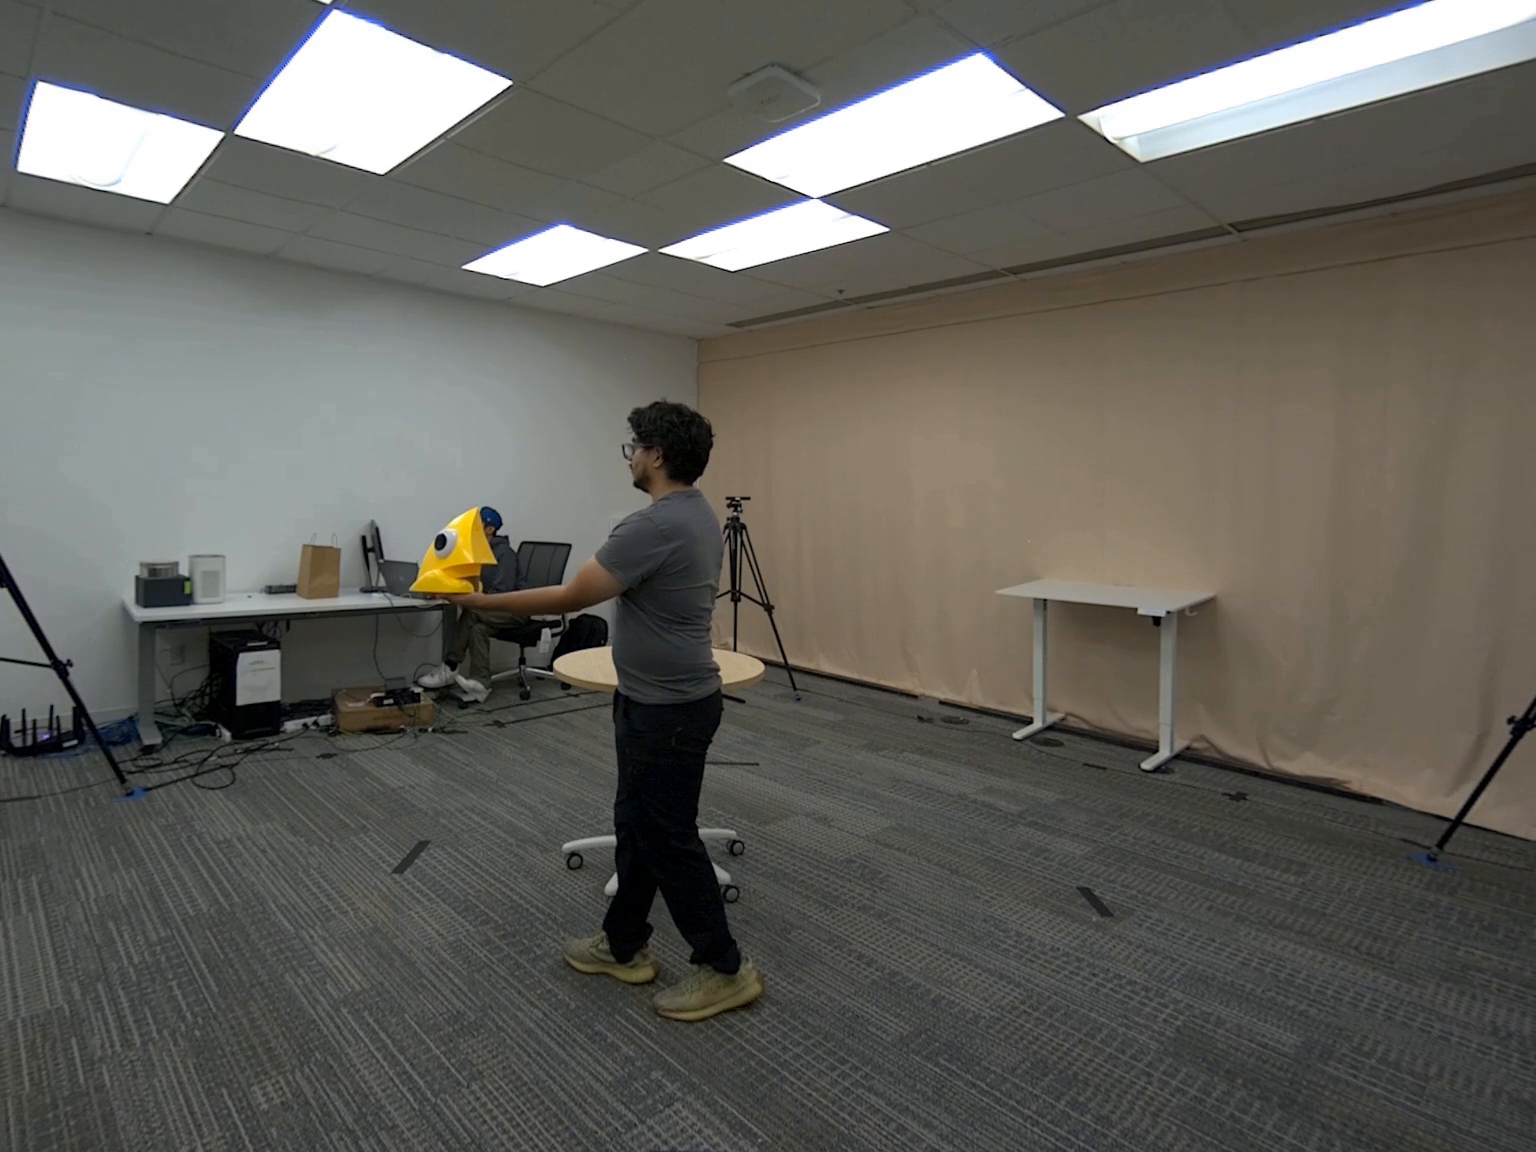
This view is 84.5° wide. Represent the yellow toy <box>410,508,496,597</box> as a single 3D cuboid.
[{"bbox_3d":[-0.851,-0.073,2.285,0.193,0.231,0.204,2,-1,-1],"label":"yellow toy"}]
